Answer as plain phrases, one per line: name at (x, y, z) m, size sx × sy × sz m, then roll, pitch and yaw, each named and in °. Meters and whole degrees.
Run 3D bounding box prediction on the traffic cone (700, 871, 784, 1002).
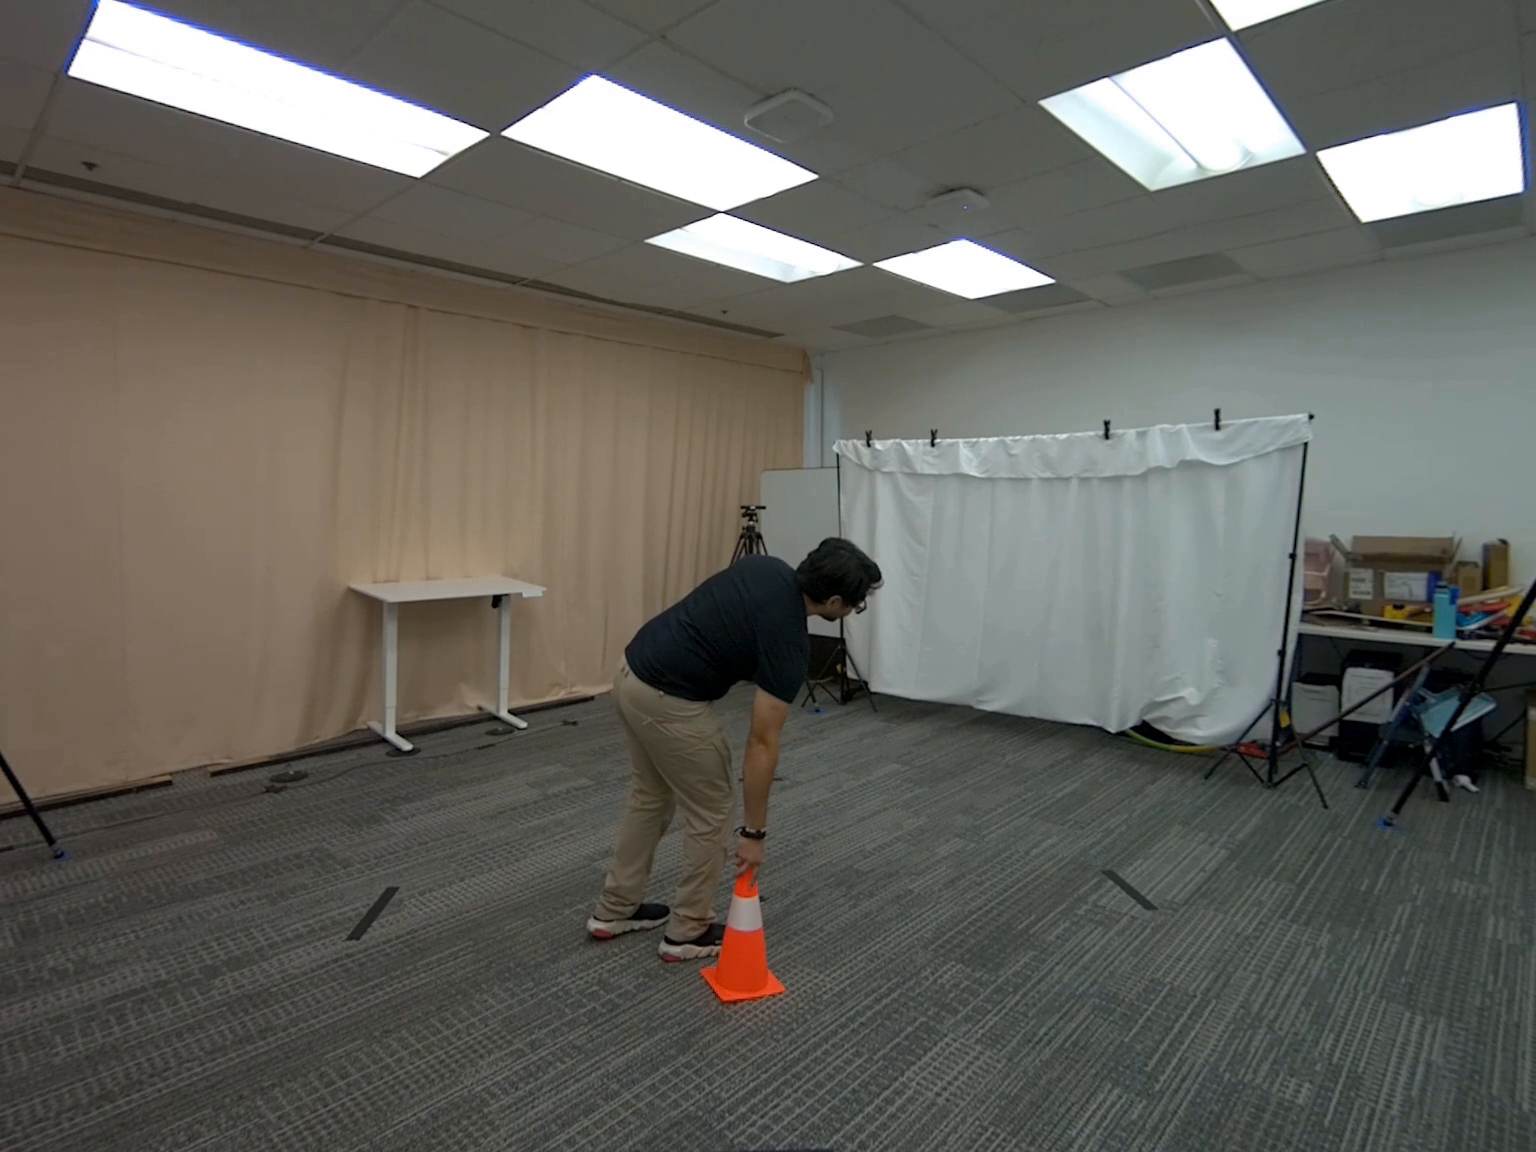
traffic cone at (-0.066, 1.006, 2.458) m, size 0.201 × 0.383 × 0.207 m, roll 1°, pitch 1°, yaw -18°
